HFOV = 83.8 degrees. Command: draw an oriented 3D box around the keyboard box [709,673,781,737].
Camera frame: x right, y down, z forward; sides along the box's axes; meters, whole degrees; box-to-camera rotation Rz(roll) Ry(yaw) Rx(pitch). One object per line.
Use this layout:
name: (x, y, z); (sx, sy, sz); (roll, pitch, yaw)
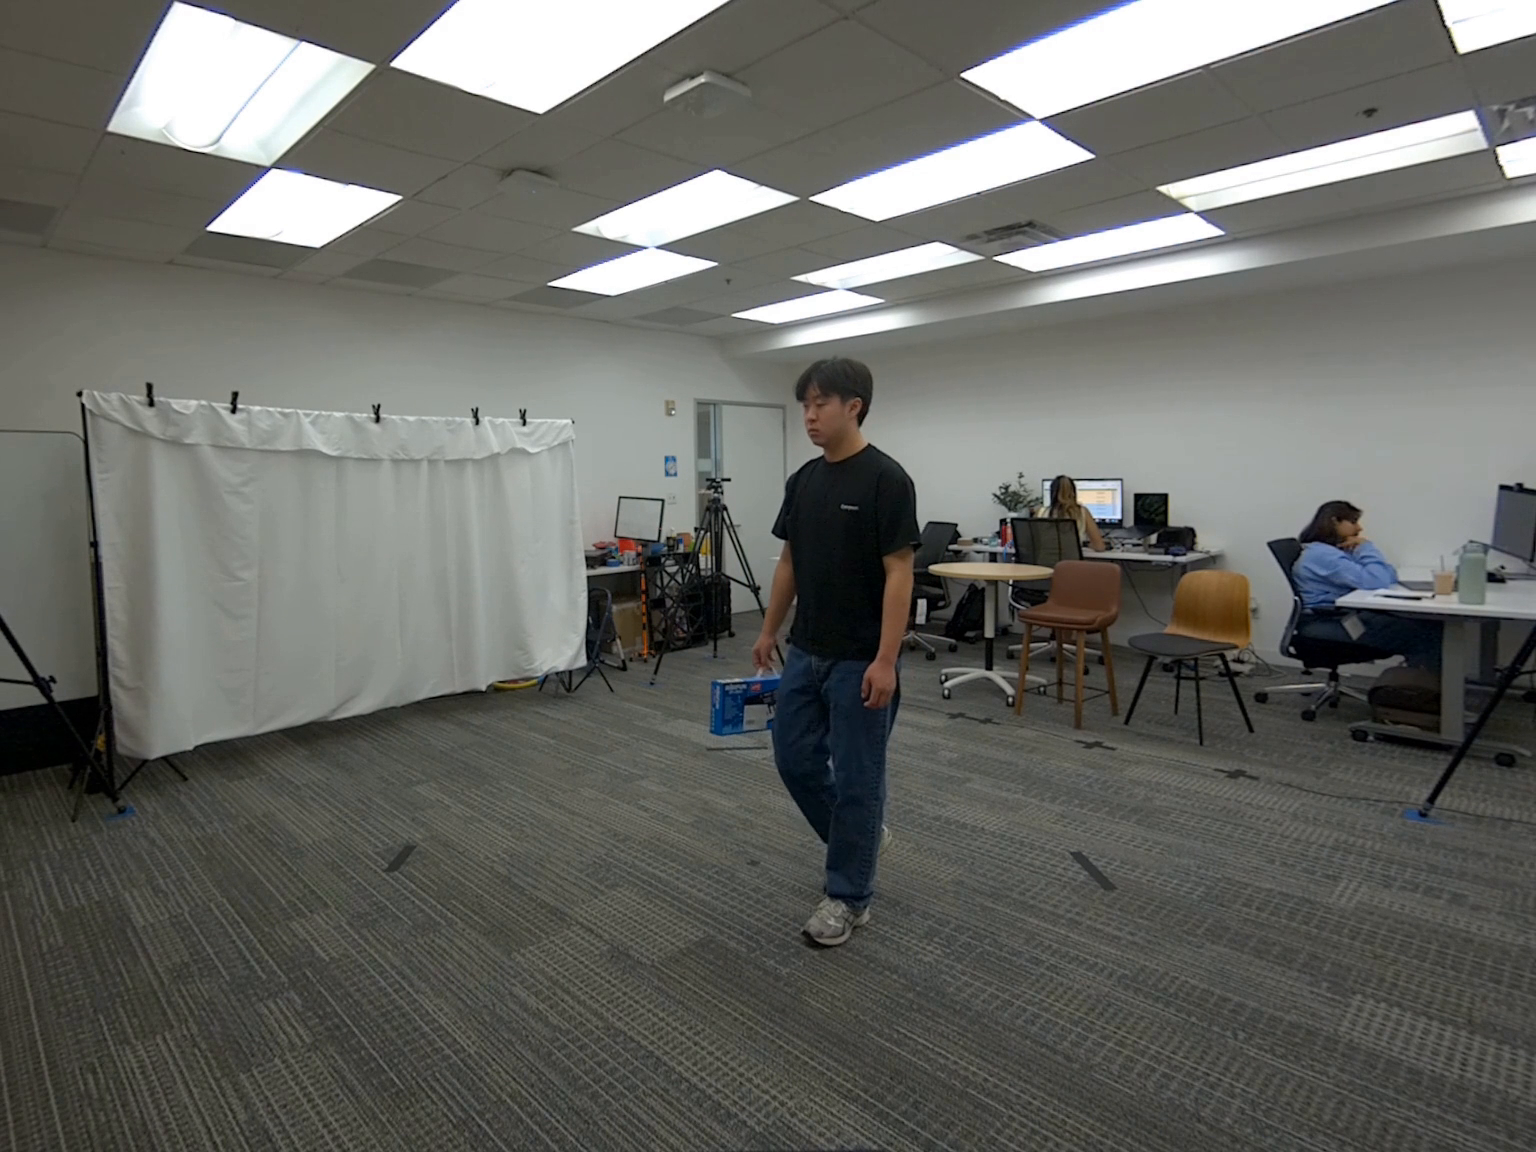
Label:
keyboard box: (-0.004, 0.432, 2.897); (0.424, 0.176, 0.061); (1, 0, -39)
